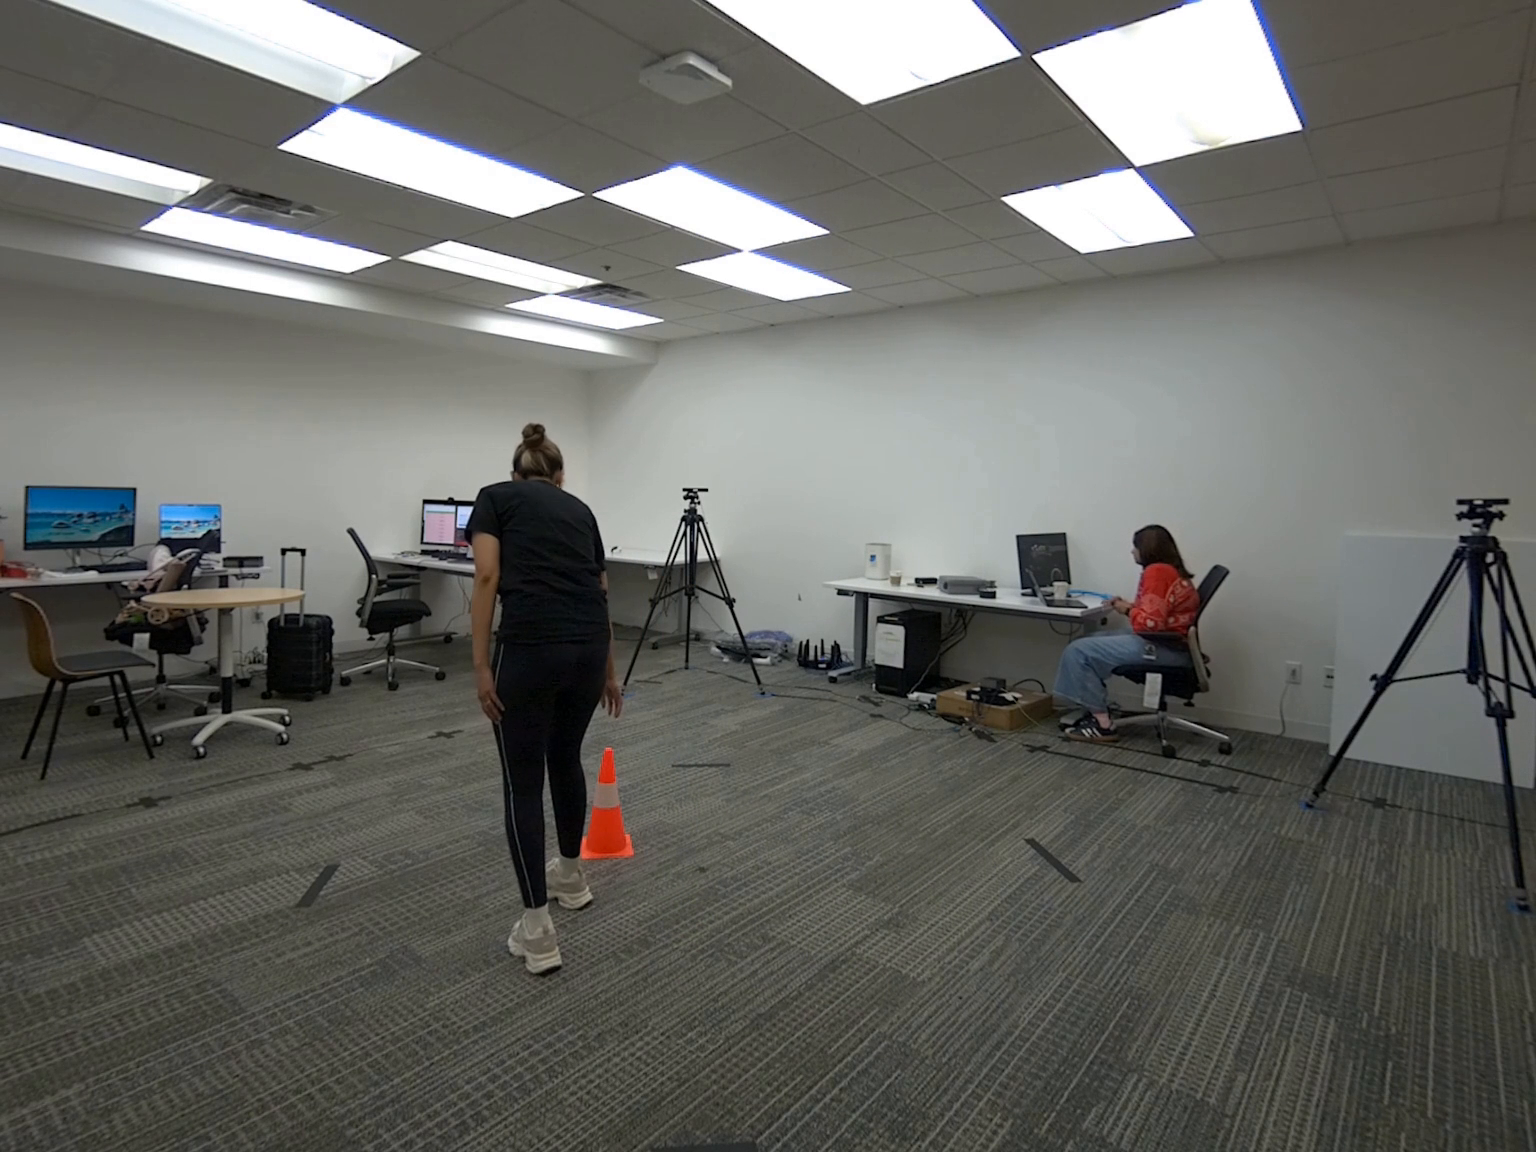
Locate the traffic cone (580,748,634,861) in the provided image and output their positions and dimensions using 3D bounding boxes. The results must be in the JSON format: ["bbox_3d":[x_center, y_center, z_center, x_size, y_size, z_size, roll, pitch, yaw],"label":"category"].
[{"bbox_3d":[-0.637,0.857,3.281,0.200,0.382,0.209,0,4,-15],"label":"traffic cone"}]
